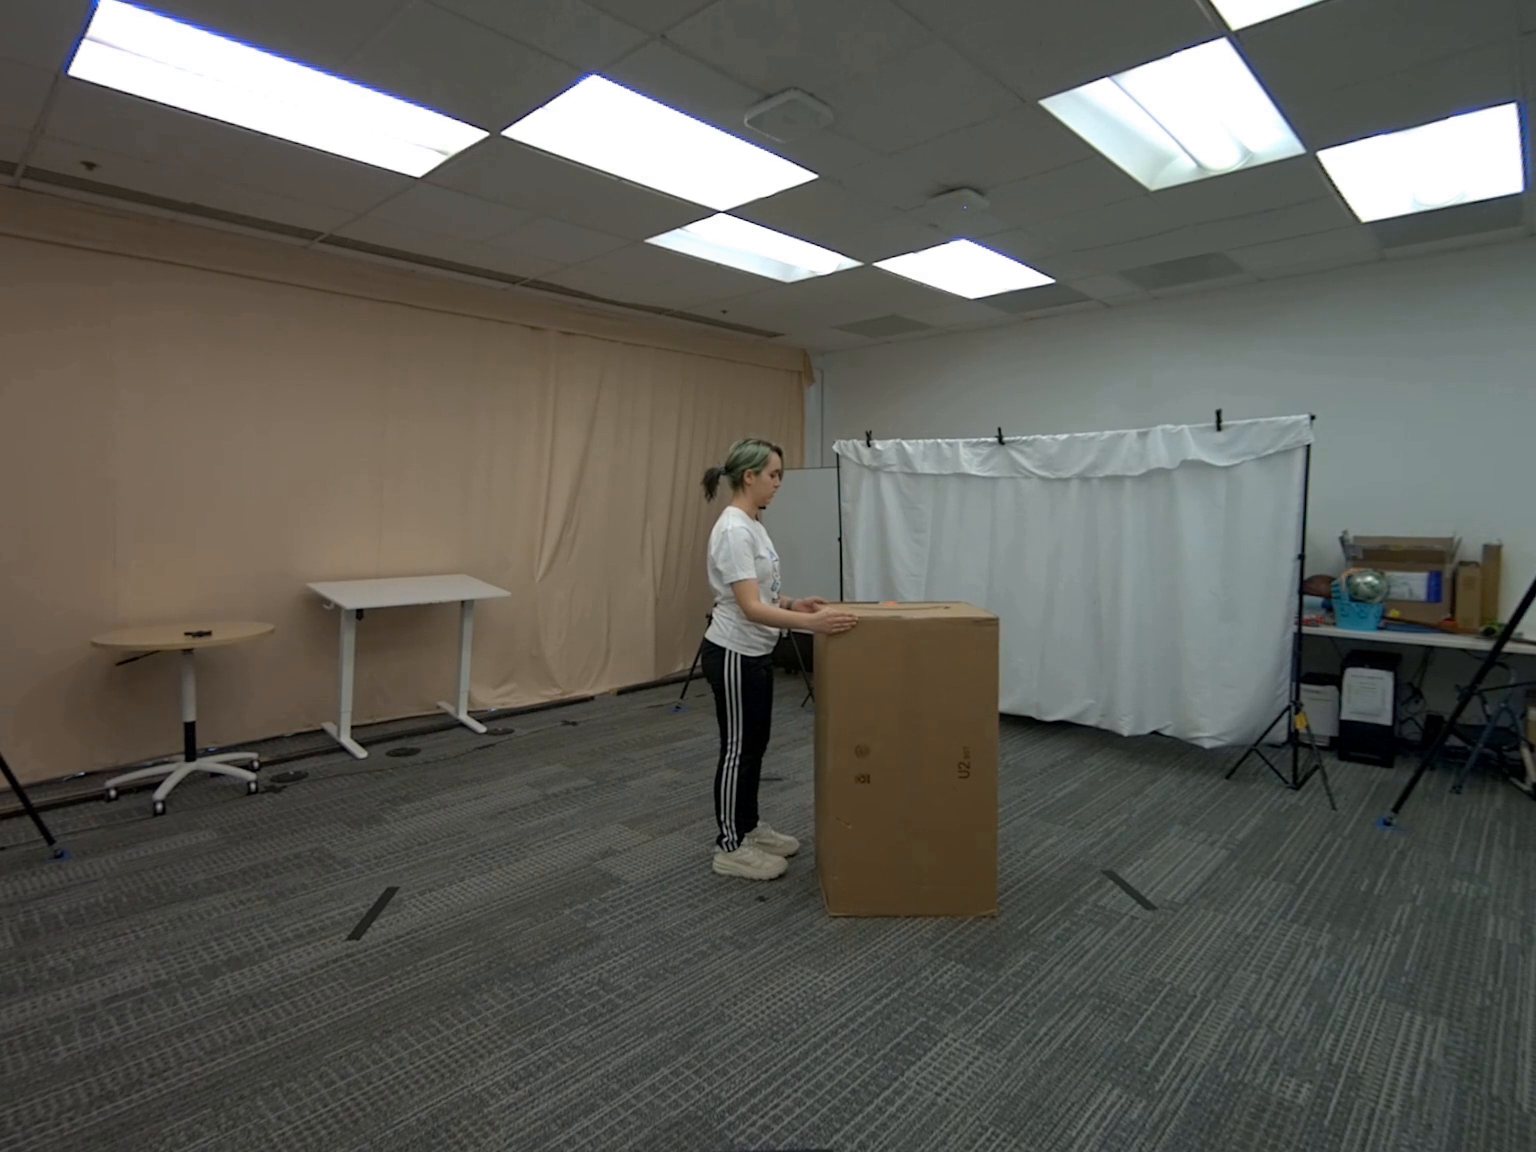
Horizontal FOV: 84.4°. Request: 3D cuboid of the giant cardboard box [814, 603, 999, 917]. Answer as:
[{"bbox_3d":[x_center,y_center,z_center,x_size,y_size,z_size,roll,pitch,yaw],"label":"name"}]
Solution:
[{"bbox_3d":[0.480,0.634,3.020,0.578,1.023,0.427,0,4,0],"label":"giant cardboard box"}]
